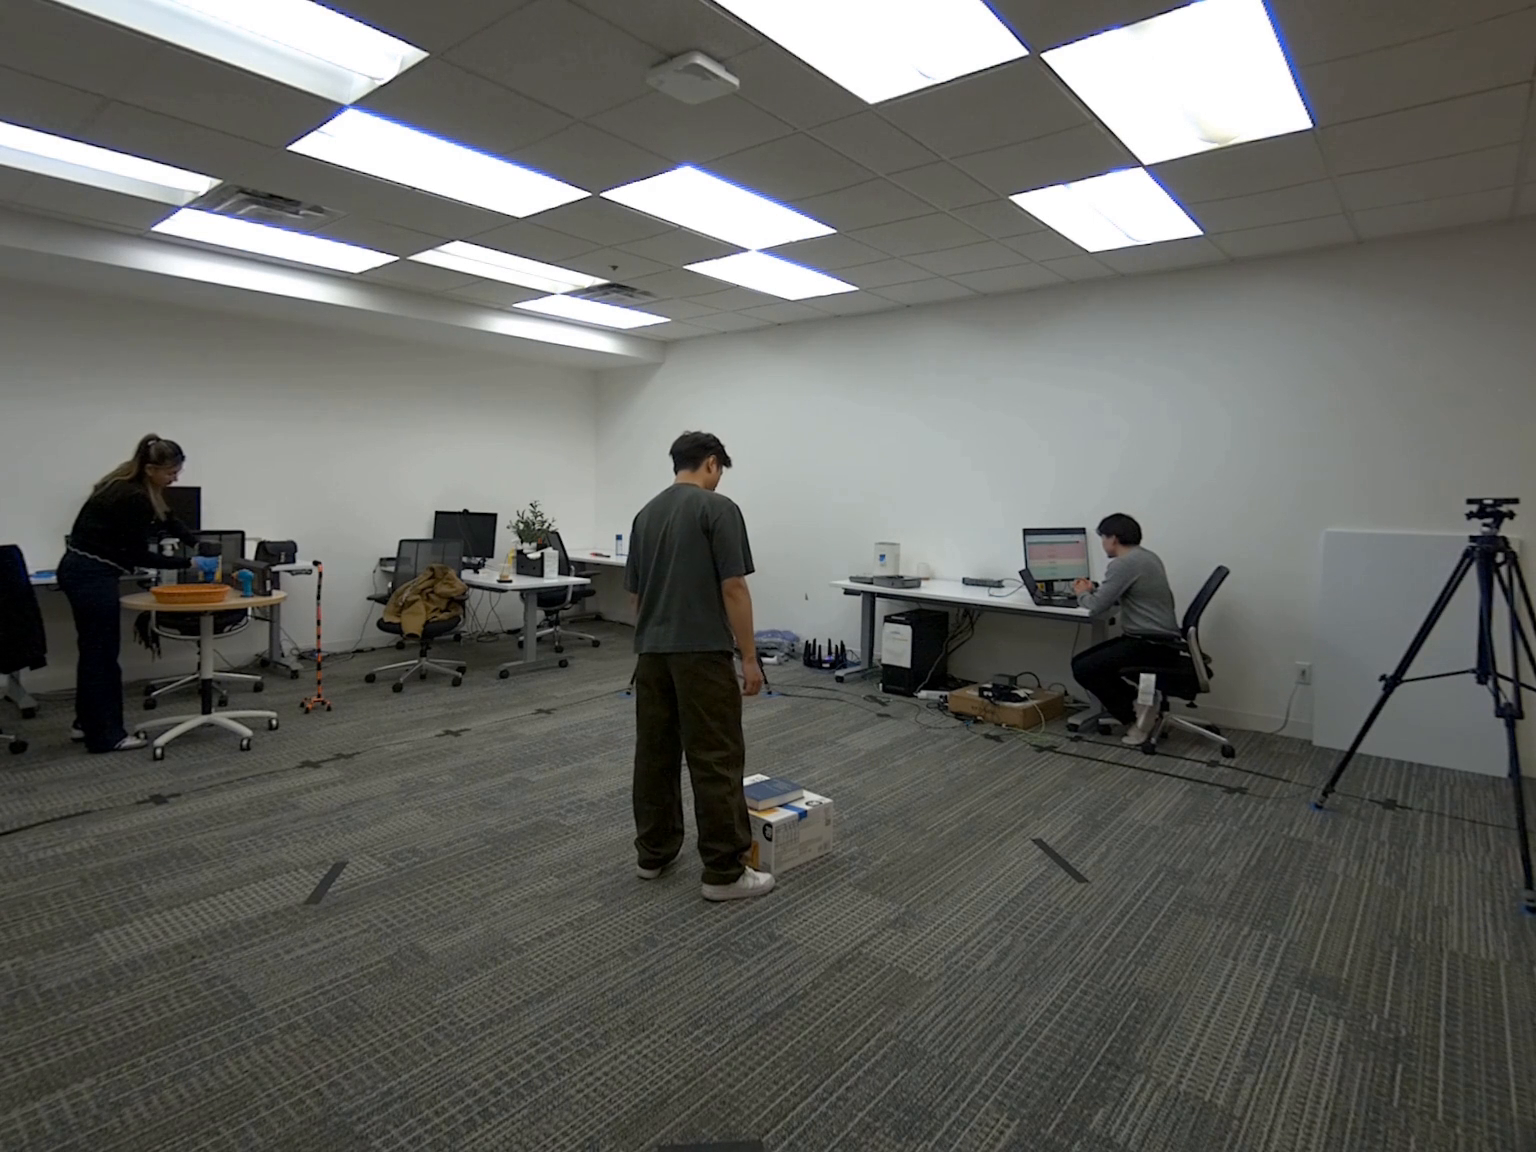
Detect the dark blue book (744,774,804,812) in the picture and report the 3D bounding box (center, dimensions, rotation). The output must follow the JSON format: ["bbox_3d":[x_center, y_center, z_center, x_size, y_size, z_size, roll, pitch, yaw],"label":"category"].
[{"bbox_3d":[-0.004,0.840,3.284,0.238,0.045,0.169,-3,7,-41],"label":"dark blue book"}]
